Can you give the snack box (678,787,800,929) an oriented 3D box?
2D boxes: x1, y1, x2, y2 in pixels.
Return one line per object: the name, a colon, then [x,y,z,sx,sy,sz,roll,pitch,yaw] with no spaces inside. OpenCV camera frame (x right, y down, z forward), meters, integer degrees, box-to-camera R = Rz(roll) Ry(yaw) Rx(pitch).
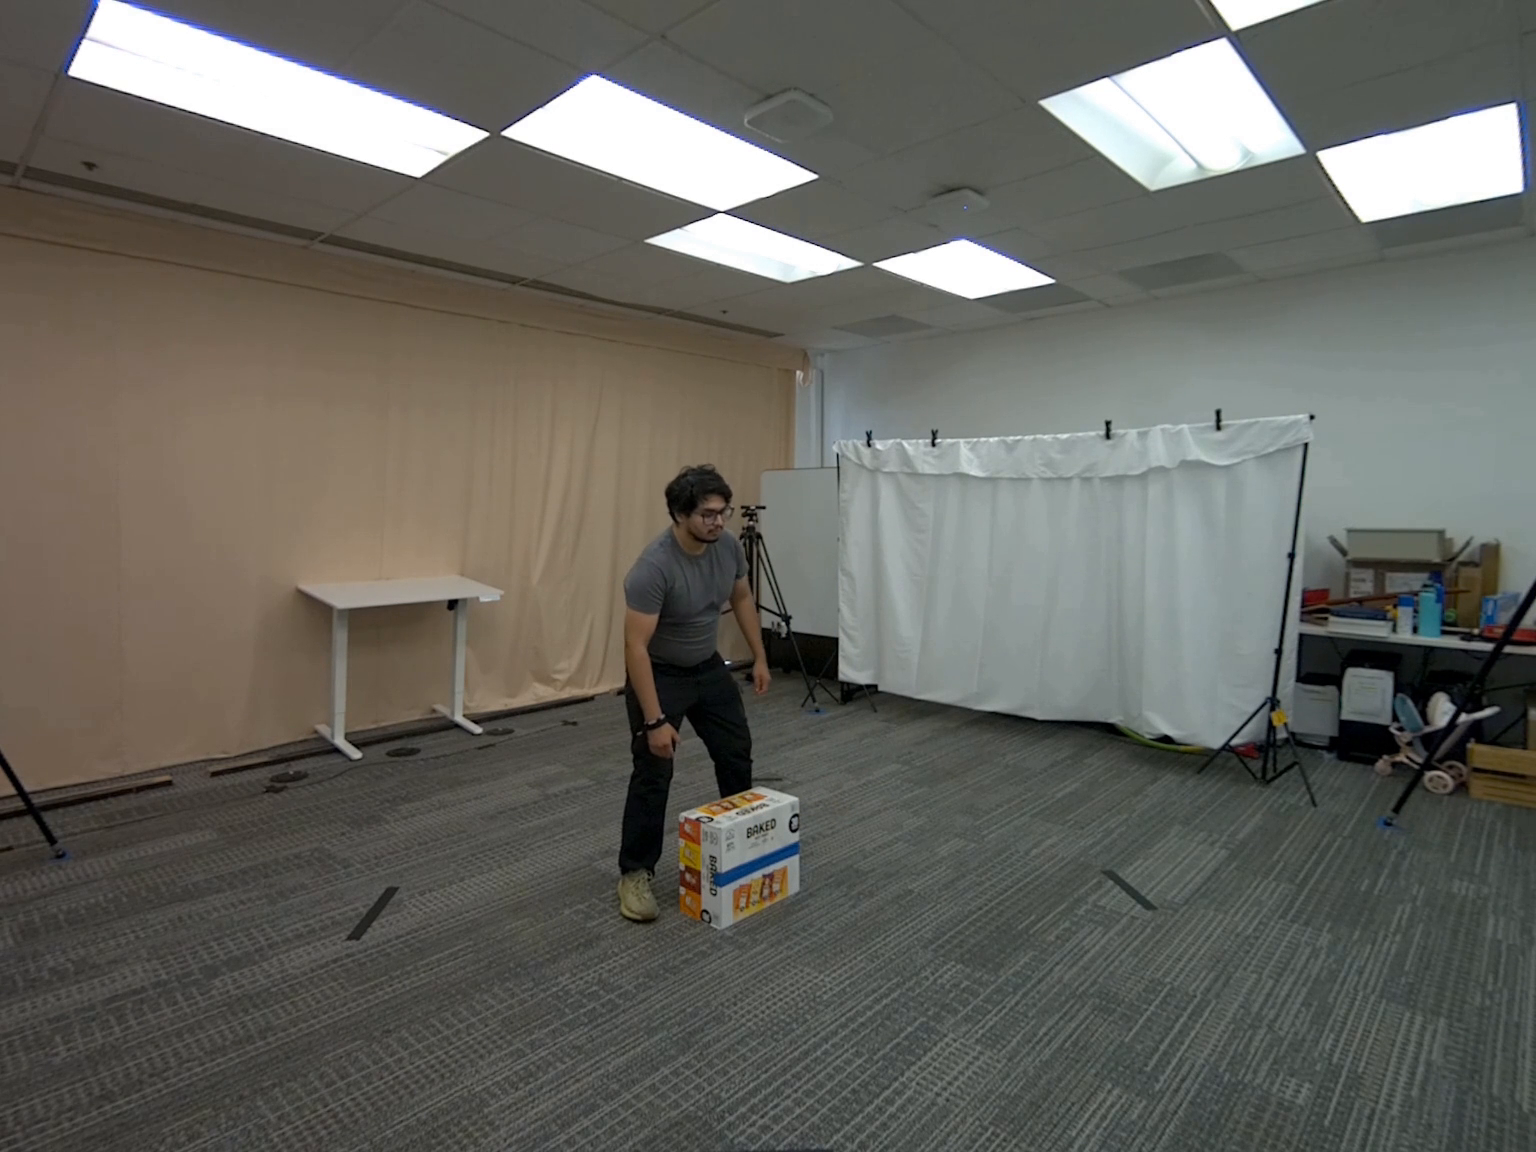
snack box: [-0.092,0.977,2.962,0.212,0.339,0.393,3,5,43]
